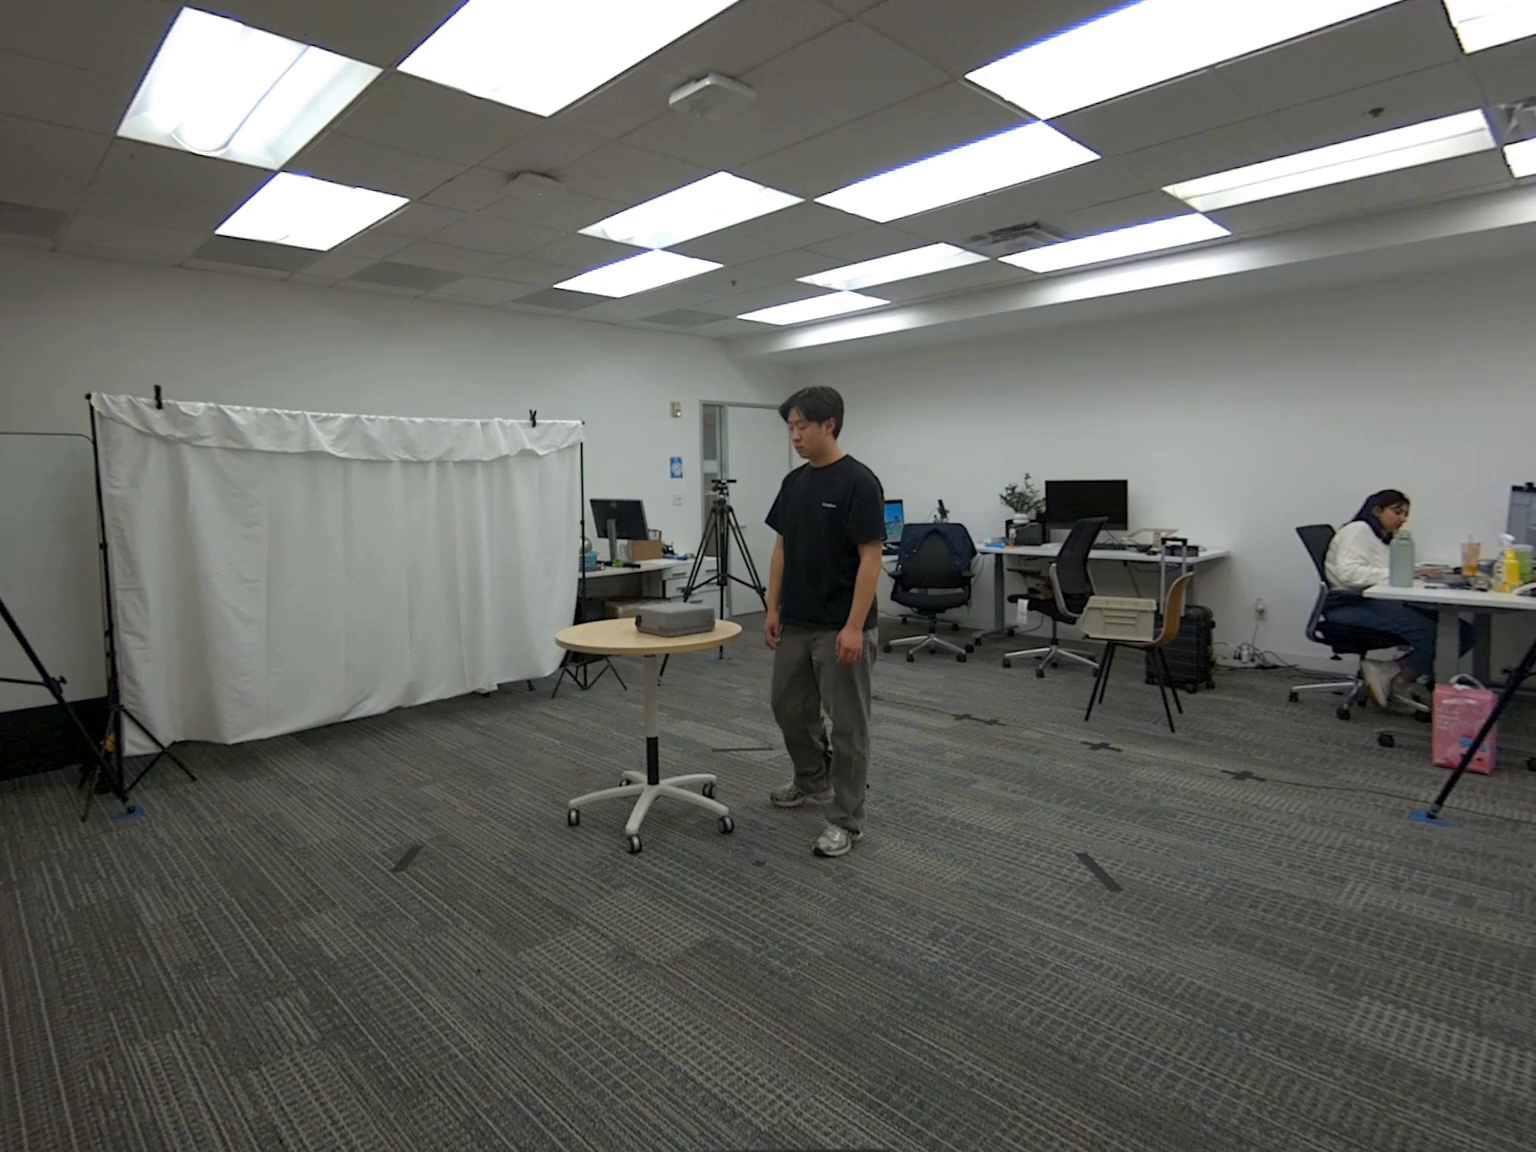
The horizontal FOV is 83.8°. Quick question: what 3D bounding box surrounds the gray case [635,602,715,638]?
[{"bbox_3d":[-0.369,0.171,3.503,0.280,0.103,0.271,-6,7,-39],"label":"gray case"}]
